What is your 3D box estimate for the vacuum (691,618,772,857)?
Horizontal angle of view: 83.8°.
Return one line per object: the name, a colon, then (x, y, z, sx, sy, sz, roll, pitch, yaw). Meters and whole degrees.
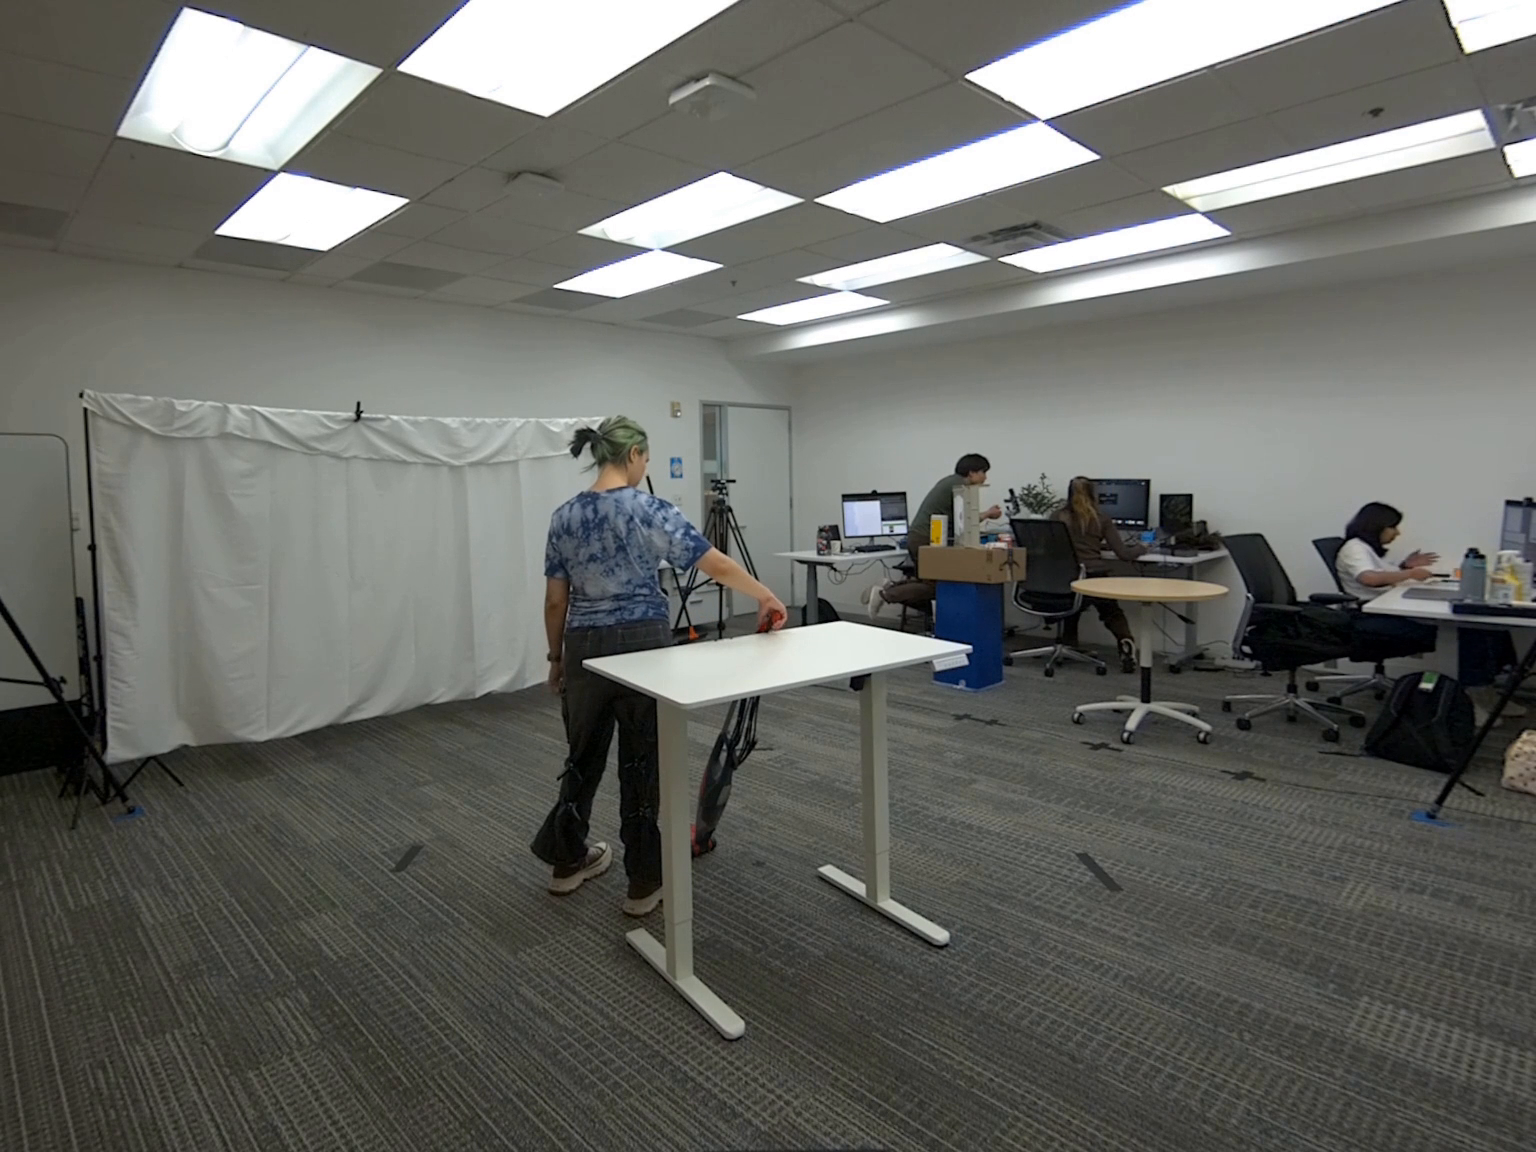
vacuum: (-0.127, 0.578, 3.029, 0.149, 1.037, 0.246, 36, 28, 32)
